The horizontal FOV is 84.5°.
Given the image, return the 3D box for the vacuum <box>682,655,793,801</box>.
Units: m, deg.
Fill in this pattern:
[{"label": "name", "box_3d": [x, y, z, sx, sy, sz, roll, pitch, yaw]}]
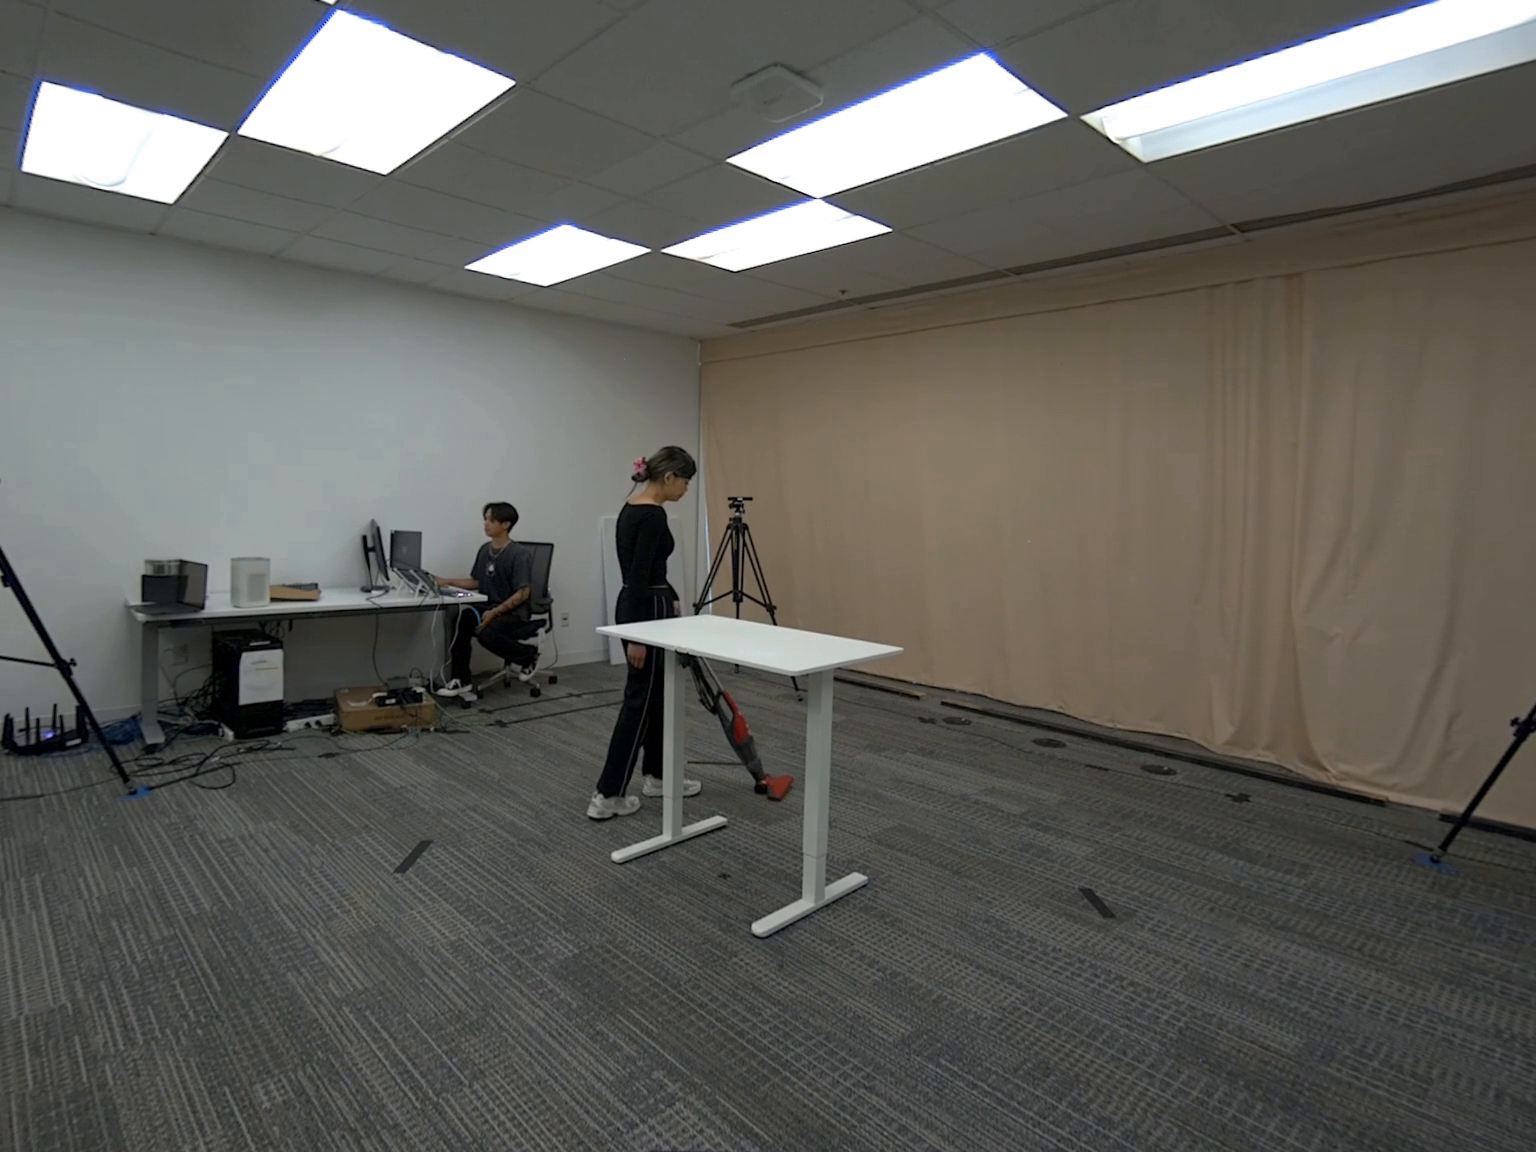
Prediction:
[{"label": "vacuum", "box_3d": [-0.257, 0.583, 4.077, 0.144, 1.056, 0.250, -34, -6, 18]}]
